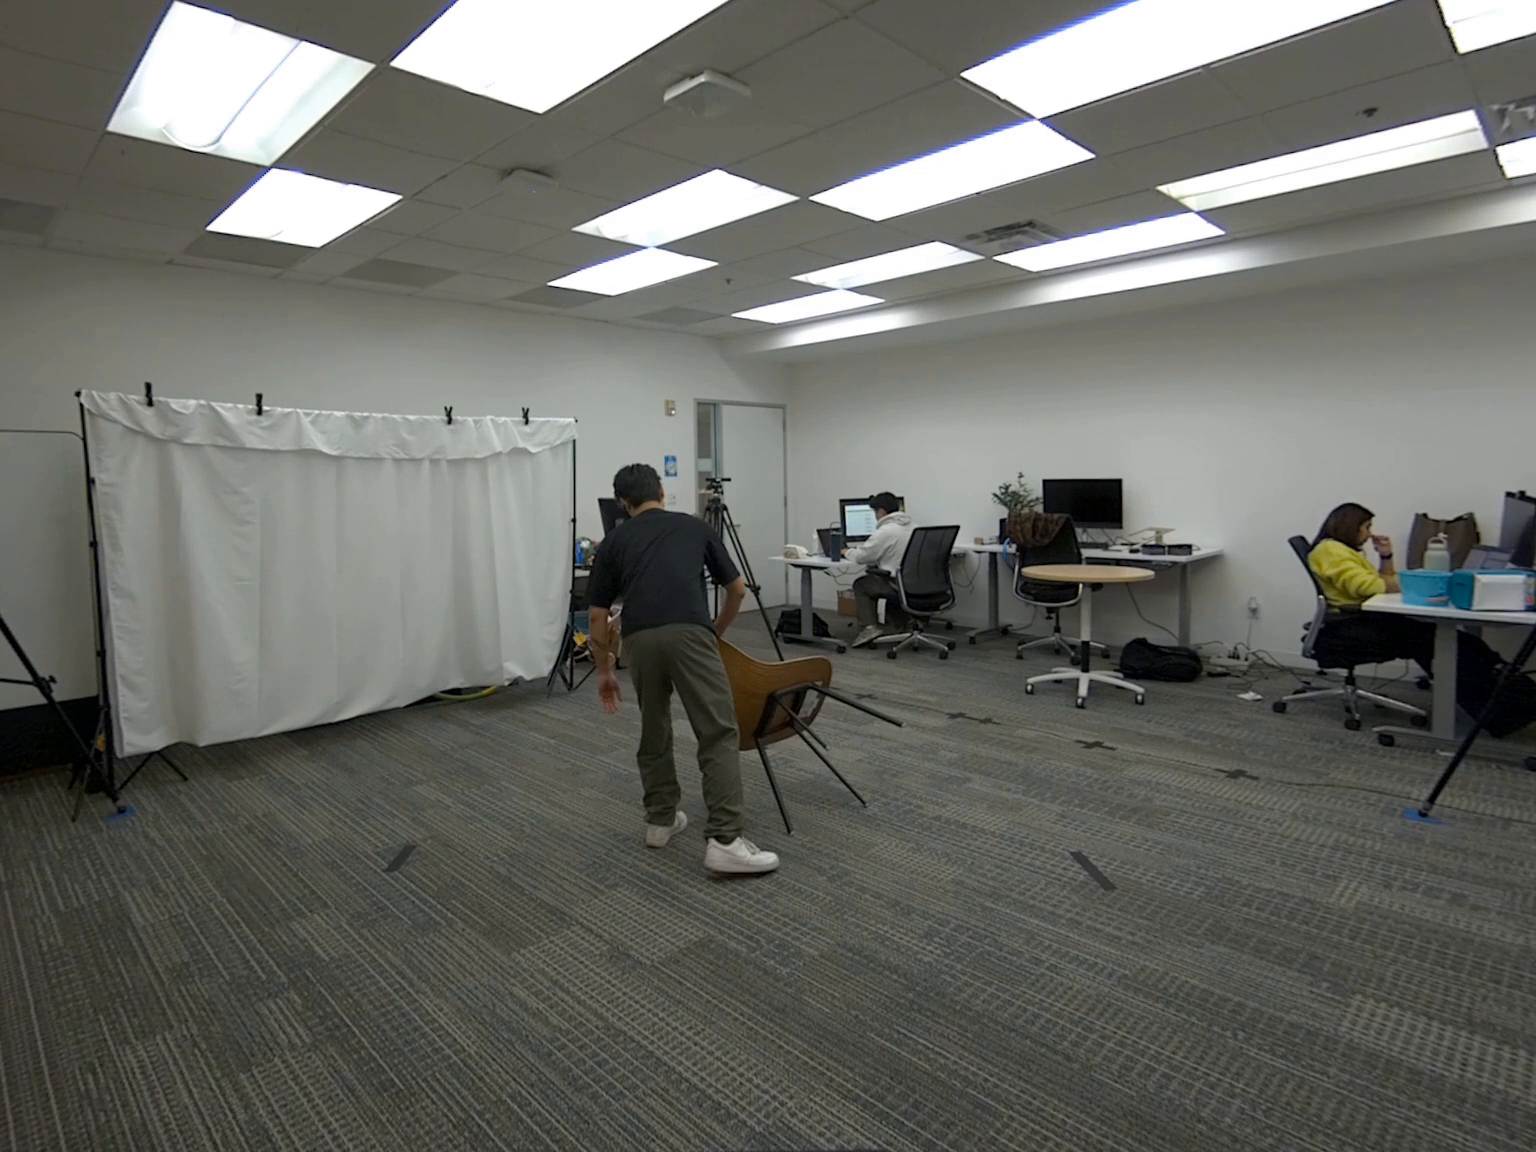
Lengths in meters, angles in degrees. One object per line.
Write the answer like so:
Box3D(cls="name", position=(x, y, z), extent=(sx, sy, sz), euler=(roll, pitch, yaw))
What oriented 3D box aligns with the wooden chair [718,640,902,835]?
Box3D(cls="wooden chair", position=(0.068, 0.586, 3.671), extent=(0.510, 0.472, 0.911), euler=(-9, 36, -44))
